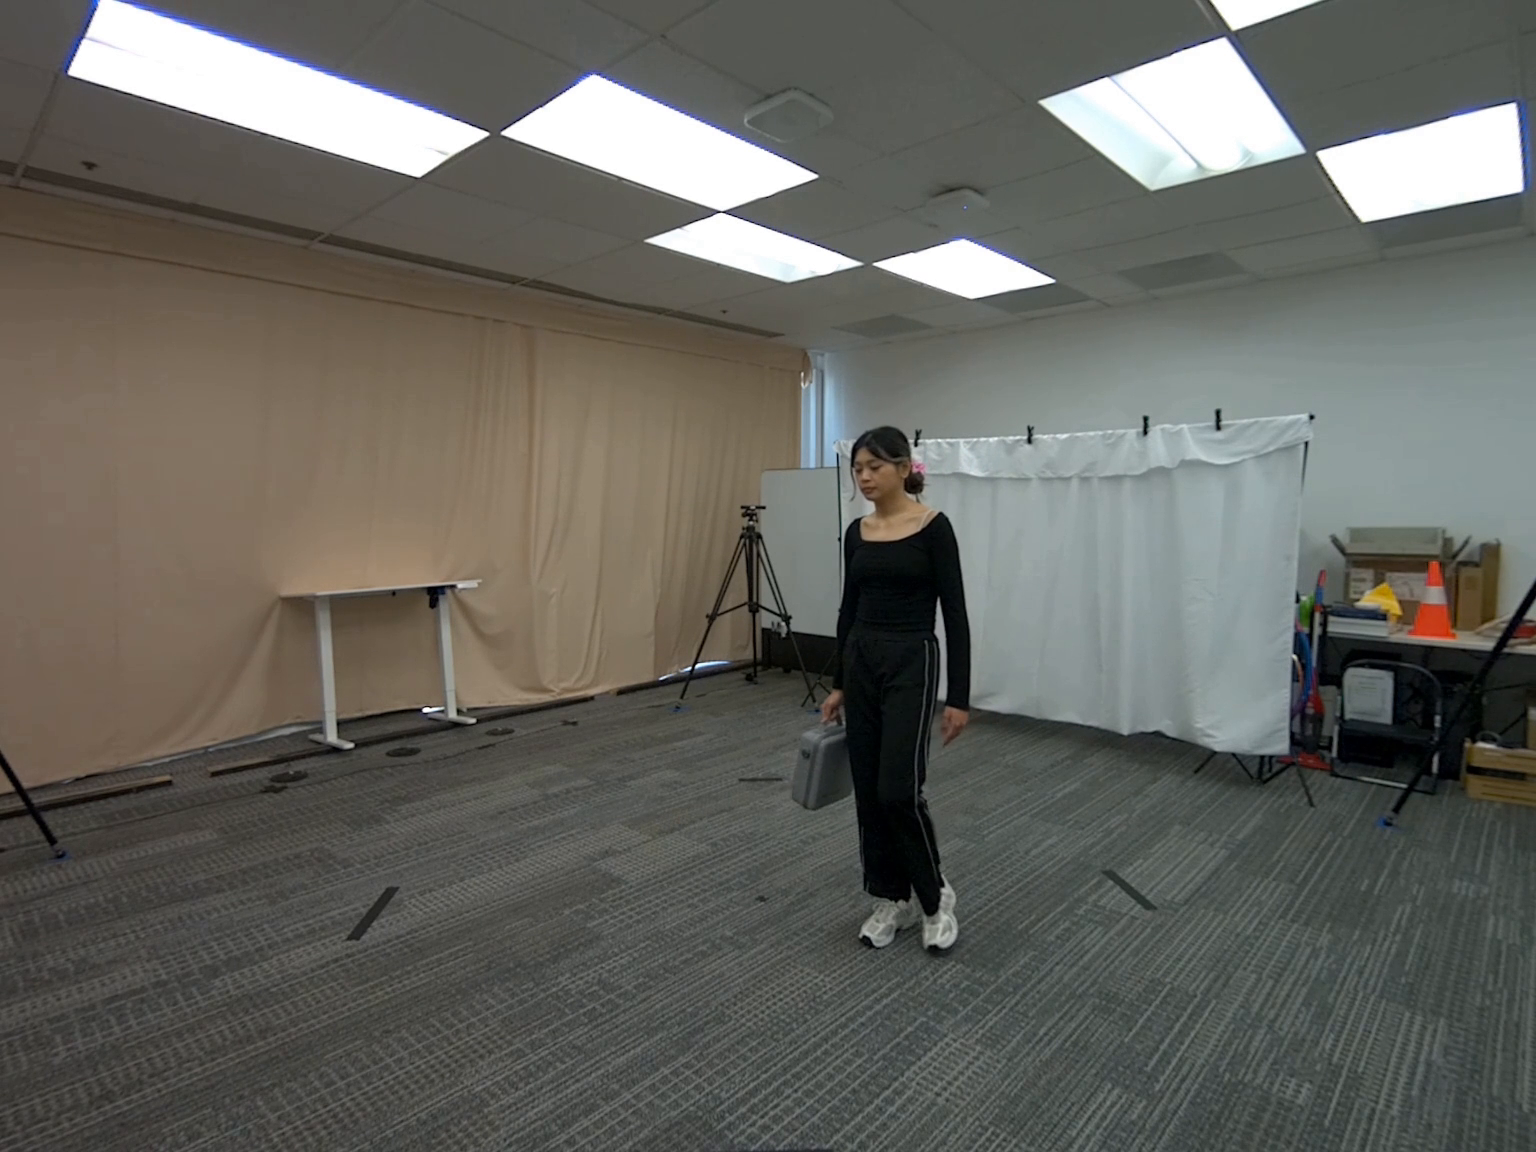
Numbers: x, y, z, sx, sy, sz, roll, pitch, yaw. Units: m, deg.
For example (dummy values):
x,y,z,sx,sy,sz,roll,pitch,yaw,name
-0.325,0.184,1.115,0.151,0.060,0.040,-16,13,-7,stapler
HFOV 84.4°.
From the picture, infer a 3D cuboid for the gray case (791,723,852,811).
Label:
x,y,z,sx,sy,sz,roll,pitch,yaw,name
0.211,0.636,2.843,0.108,0.259,0.249,13,10,40,gray case
